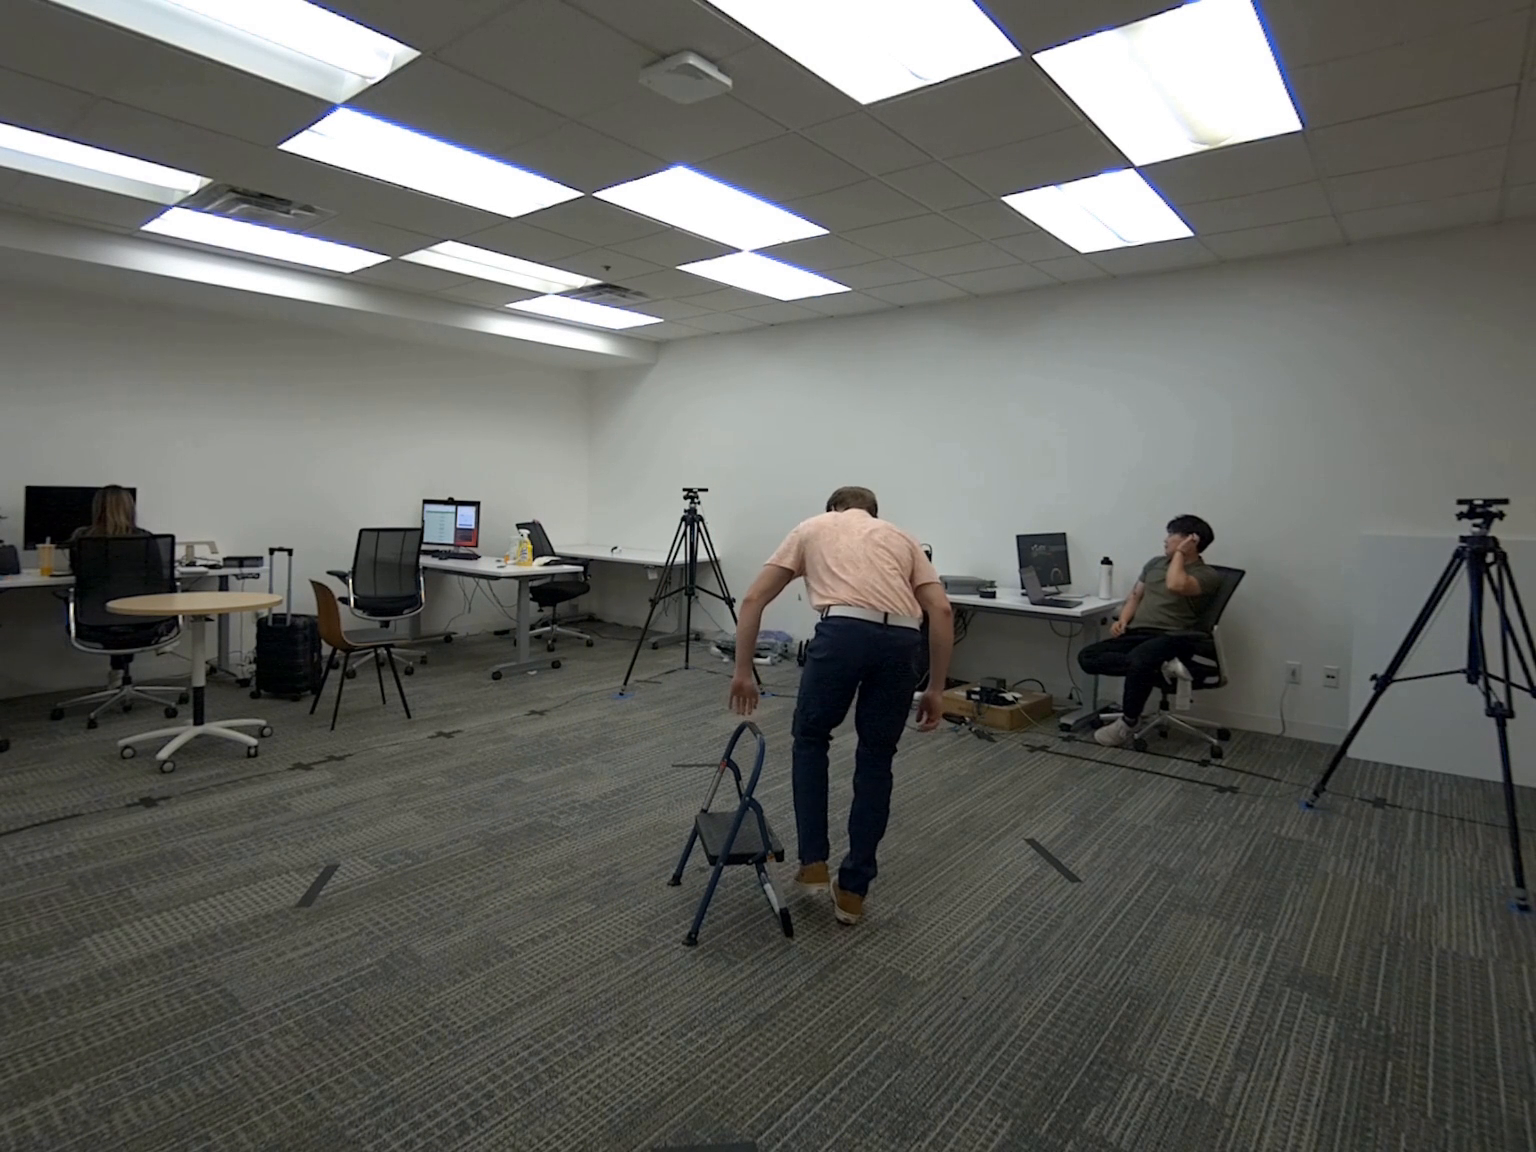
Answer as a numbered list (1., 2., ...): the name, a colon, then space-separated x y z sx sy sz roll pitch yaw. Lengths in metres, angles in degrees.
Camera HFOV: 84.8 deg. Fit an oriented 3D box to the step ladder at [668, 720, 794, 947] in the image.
1. step ladder: -0.135 0.806 2.802 0.345 0.604 0.438 -1 5 -13
